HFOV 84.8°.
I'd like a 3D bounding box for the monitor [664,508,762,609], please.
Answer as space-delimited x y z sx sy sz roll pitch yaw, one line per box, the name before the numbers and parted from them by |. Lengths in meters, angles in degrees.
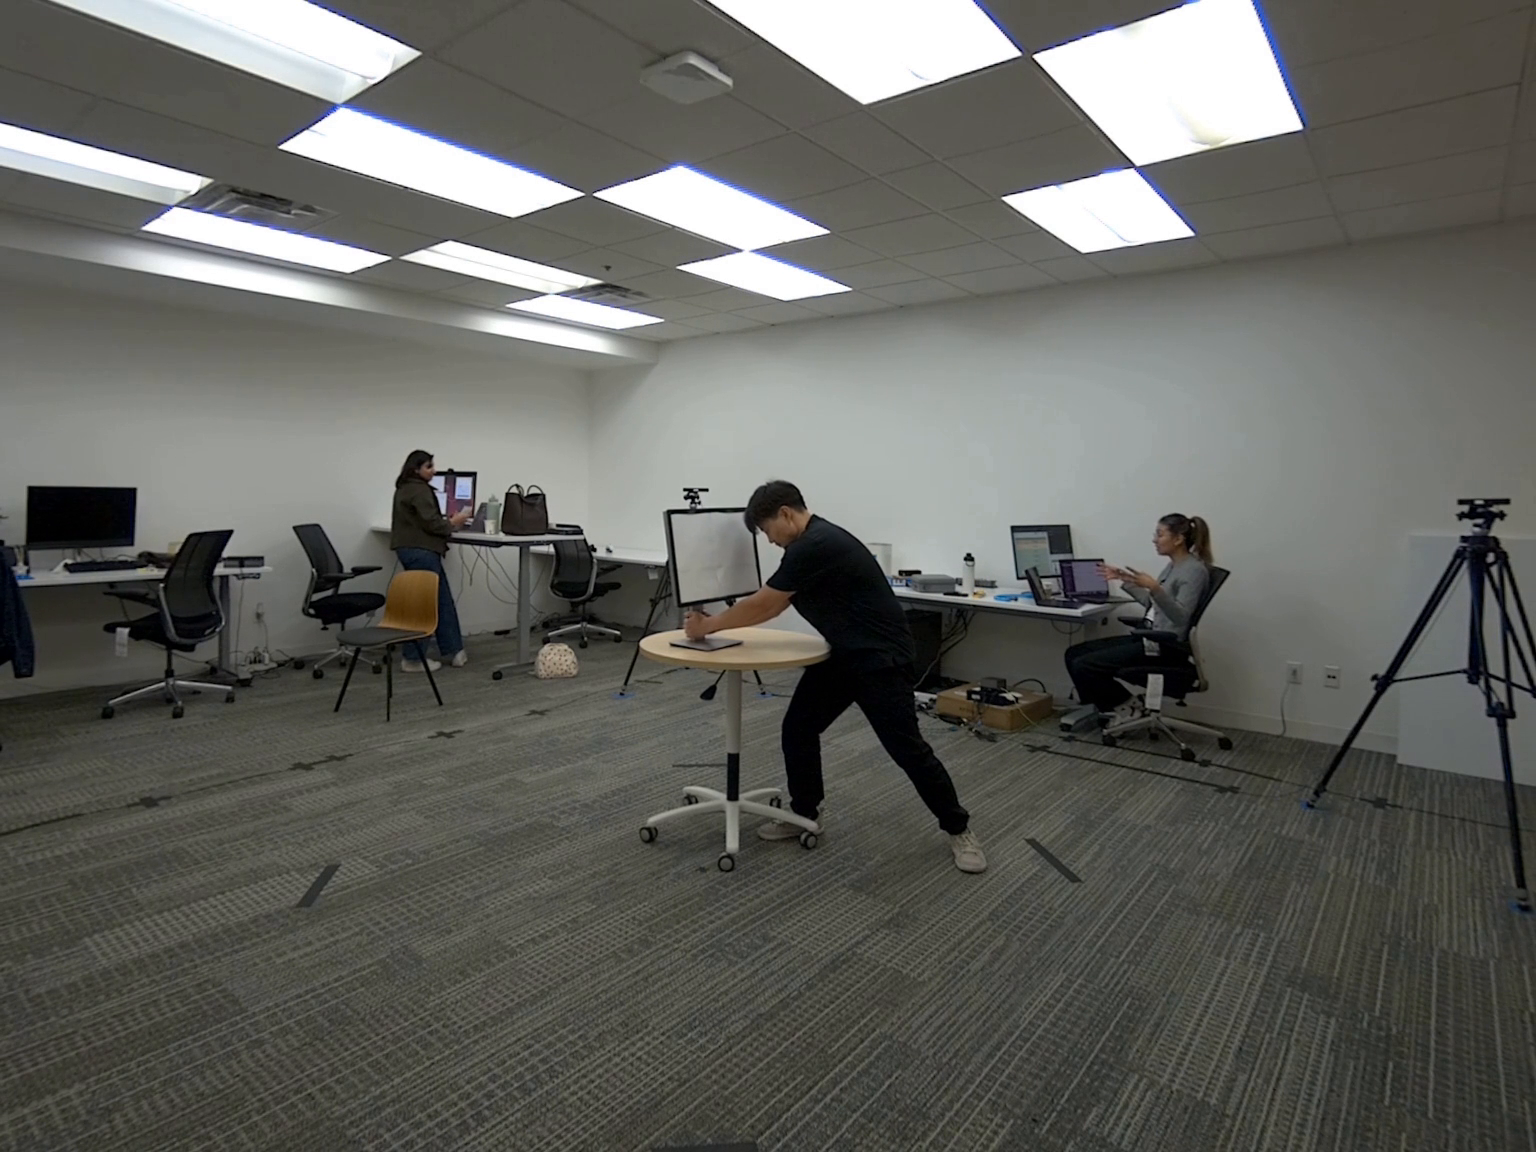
monitor | -0.247 0.004 3.359 0.193 0.521 0.524 5 5 32
